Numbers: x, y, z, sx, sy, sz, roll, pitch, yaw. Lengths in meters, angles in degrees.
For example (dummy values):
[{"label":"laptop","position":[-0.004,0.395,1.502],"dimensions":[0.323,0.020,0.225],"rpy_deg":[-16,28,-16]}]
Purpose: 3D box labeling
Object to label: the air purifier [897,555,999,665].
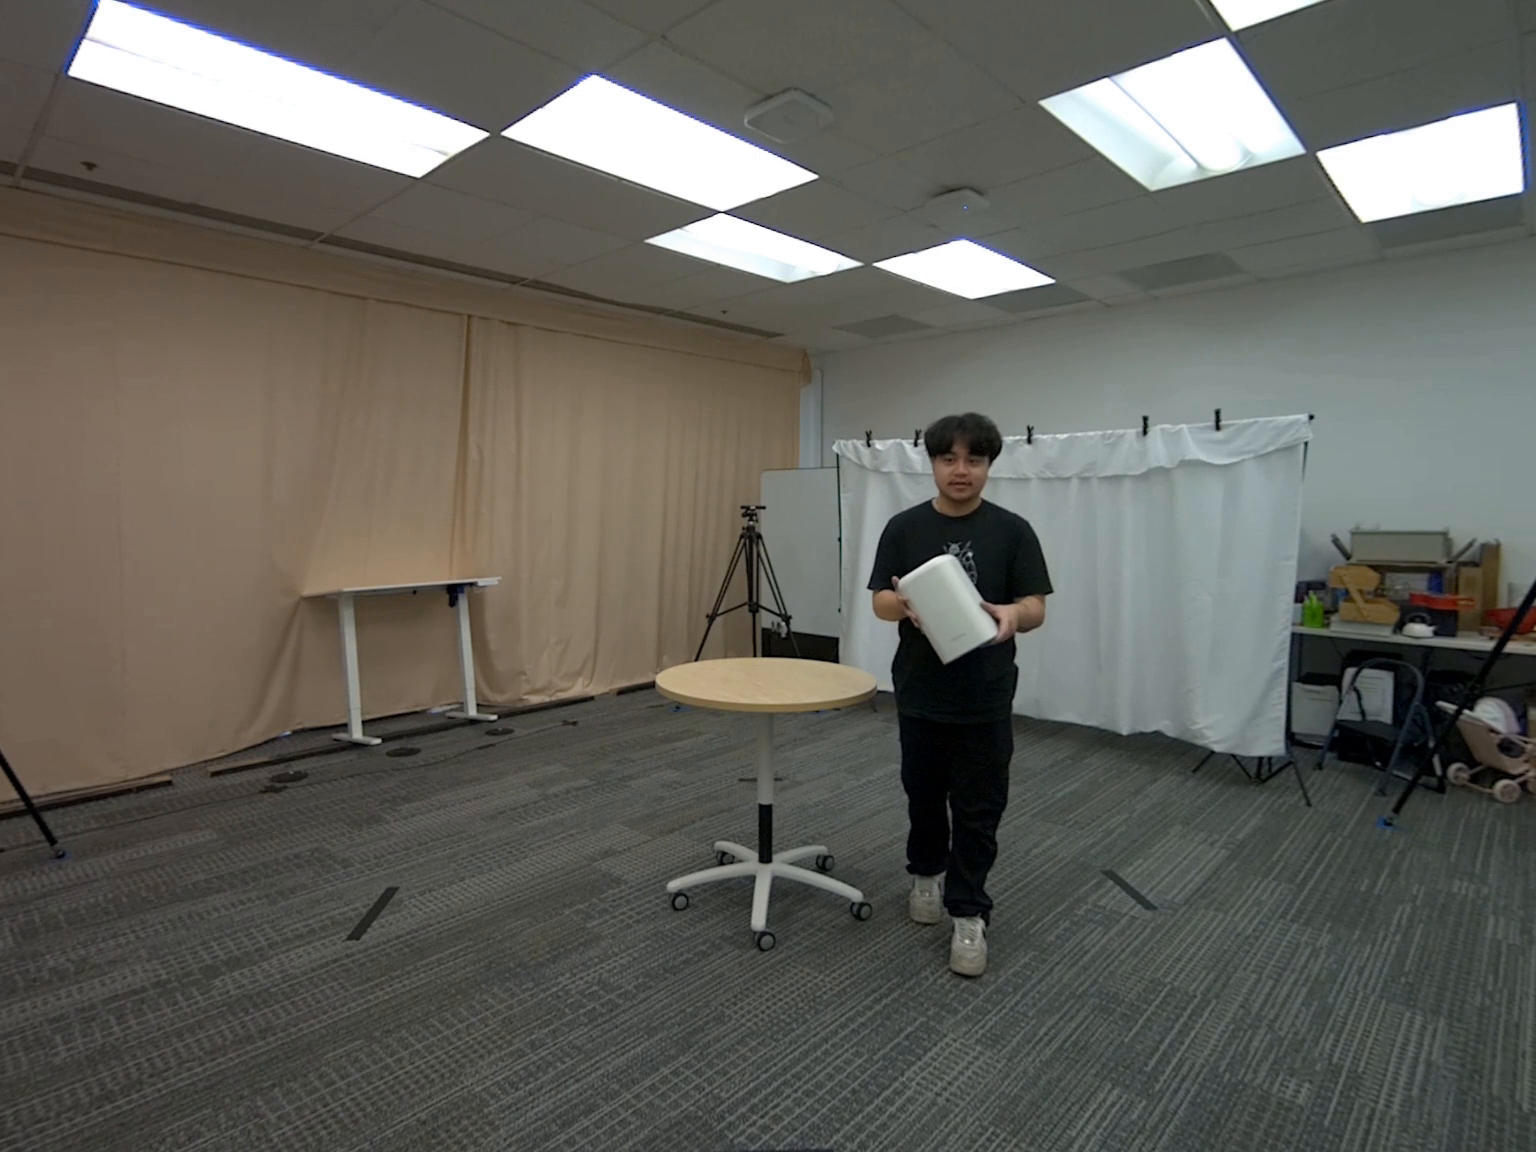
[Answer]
[{"label":"air purifier","position":[0.503,0.085,2.363],"dimensions":[0.173,0.269,0.167],"rpy_deg":[-36,-15,23]}]
